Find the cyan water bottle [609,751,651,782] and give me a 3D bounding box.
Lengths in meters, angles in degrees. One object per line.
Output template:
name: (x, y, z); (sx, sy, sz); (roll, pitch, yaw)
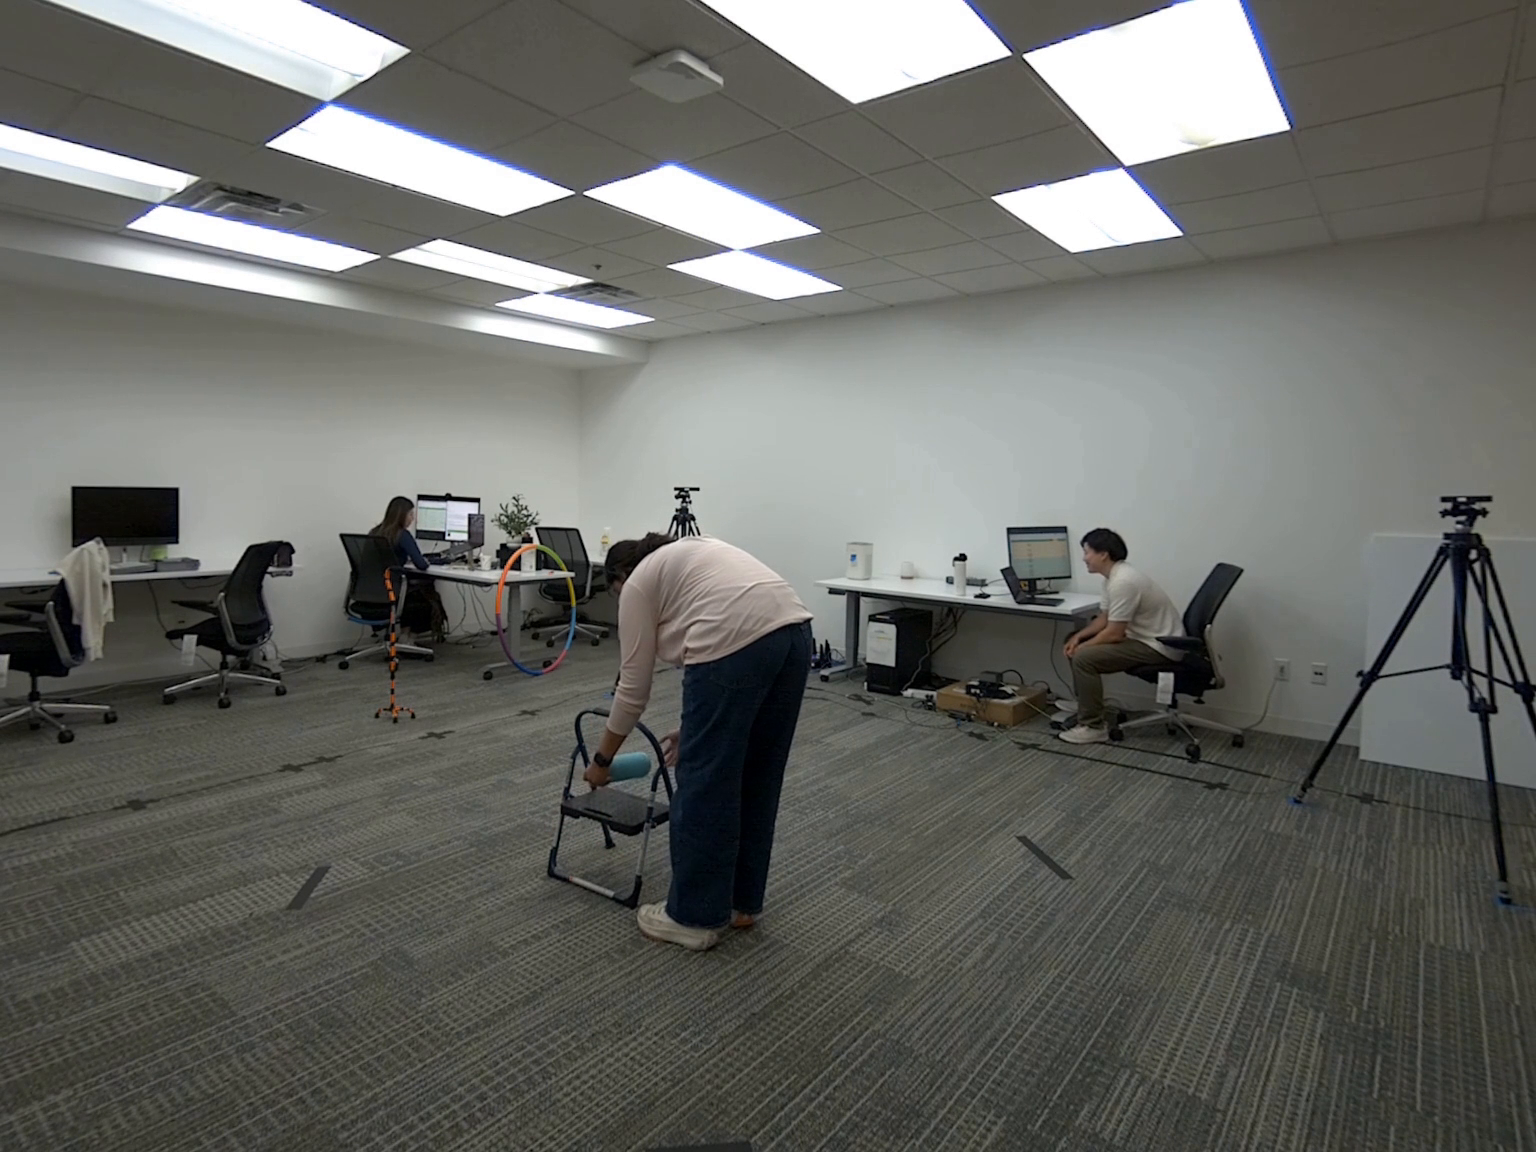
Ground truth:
cyan water bottle: (-0.526, 0.661, 2.933); (0.095, 0.093, 0.274); (3, -4, 29)
